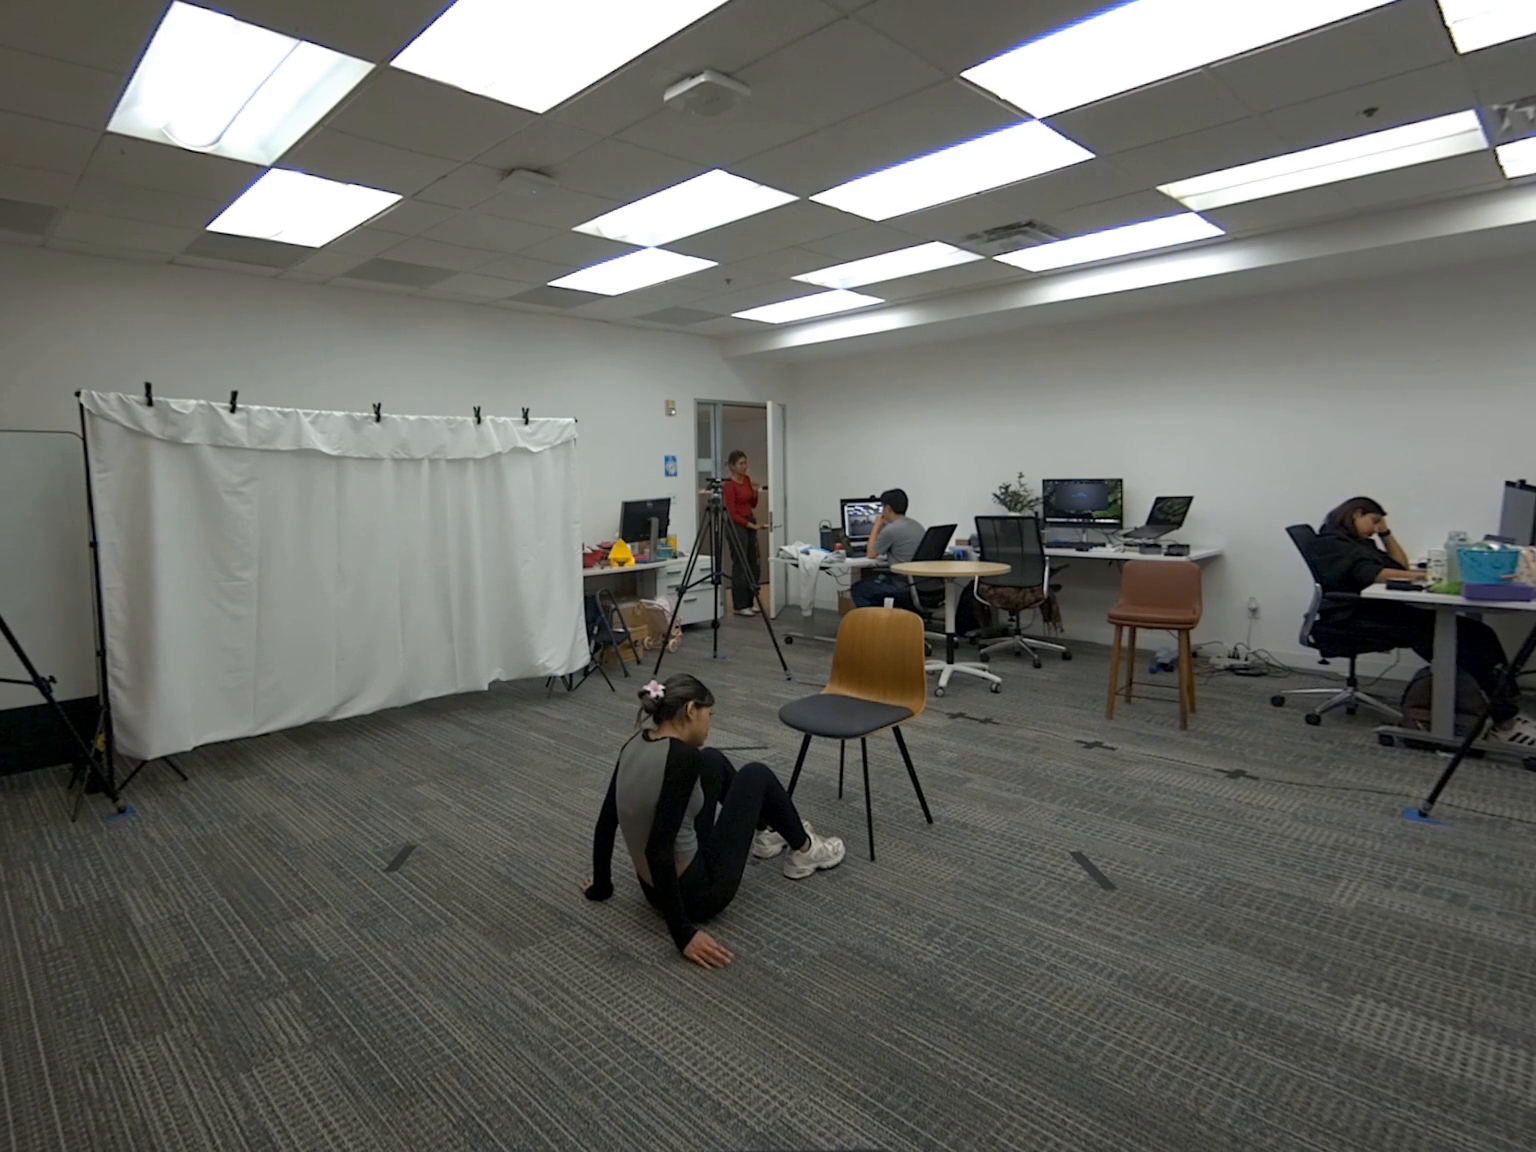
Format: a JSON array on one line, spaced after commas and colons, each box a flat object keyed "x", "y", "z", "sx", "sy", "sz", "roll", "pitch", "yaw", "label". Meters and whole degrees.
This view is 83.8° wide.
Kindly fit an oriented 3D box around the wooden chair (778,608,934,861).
[{"x": 0.337, "y": 0.575, "z": 3.377, "sx": 0.492, "sy": 0.877, "sz": 0.508, "roll": 3, "pitch": 1, "yaw": 40, "label": "wooden chair"}]
